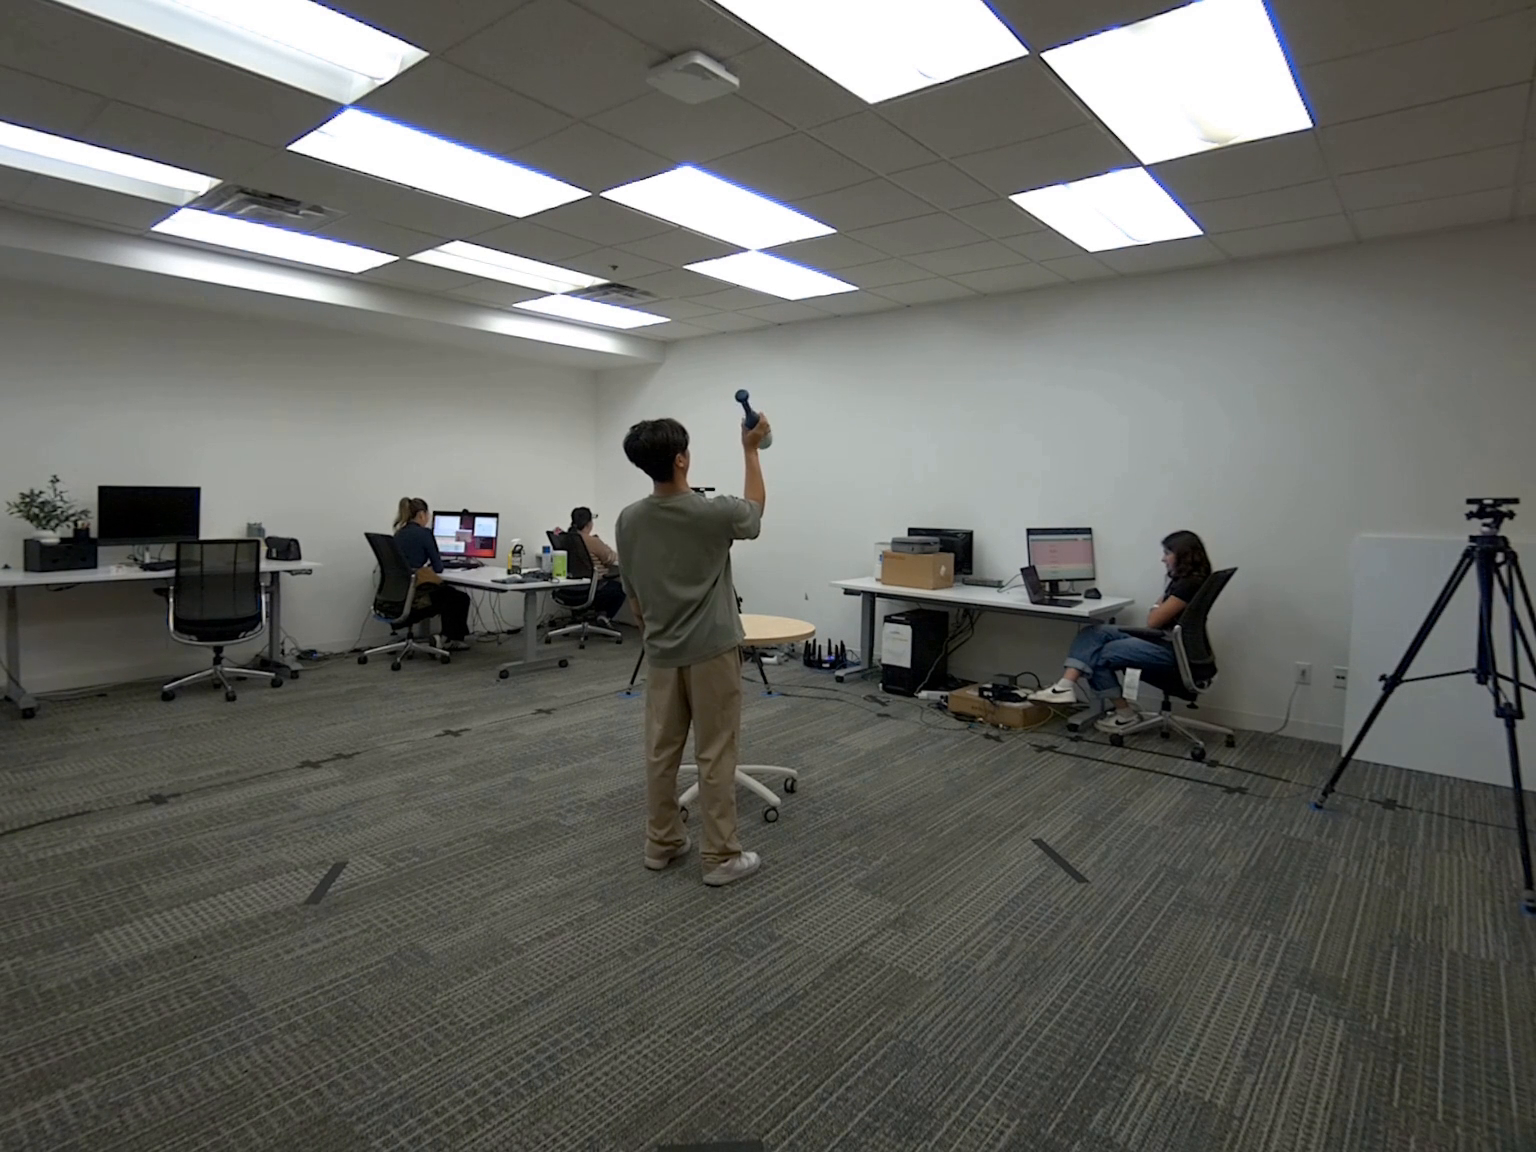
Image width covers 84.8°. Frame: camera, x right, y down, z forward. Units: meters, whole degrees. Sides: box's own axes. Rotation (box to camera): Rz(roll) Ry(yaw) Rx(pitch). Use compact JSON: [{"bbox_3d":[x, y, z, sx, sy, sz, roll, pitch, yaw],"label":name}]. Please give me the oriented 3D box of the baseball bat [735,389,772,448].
[{"bbox_3d":[-0.065,-0.603,3.256,0.090,0.090,0.533,2,-8,7],"label":"baseball bat"}]
